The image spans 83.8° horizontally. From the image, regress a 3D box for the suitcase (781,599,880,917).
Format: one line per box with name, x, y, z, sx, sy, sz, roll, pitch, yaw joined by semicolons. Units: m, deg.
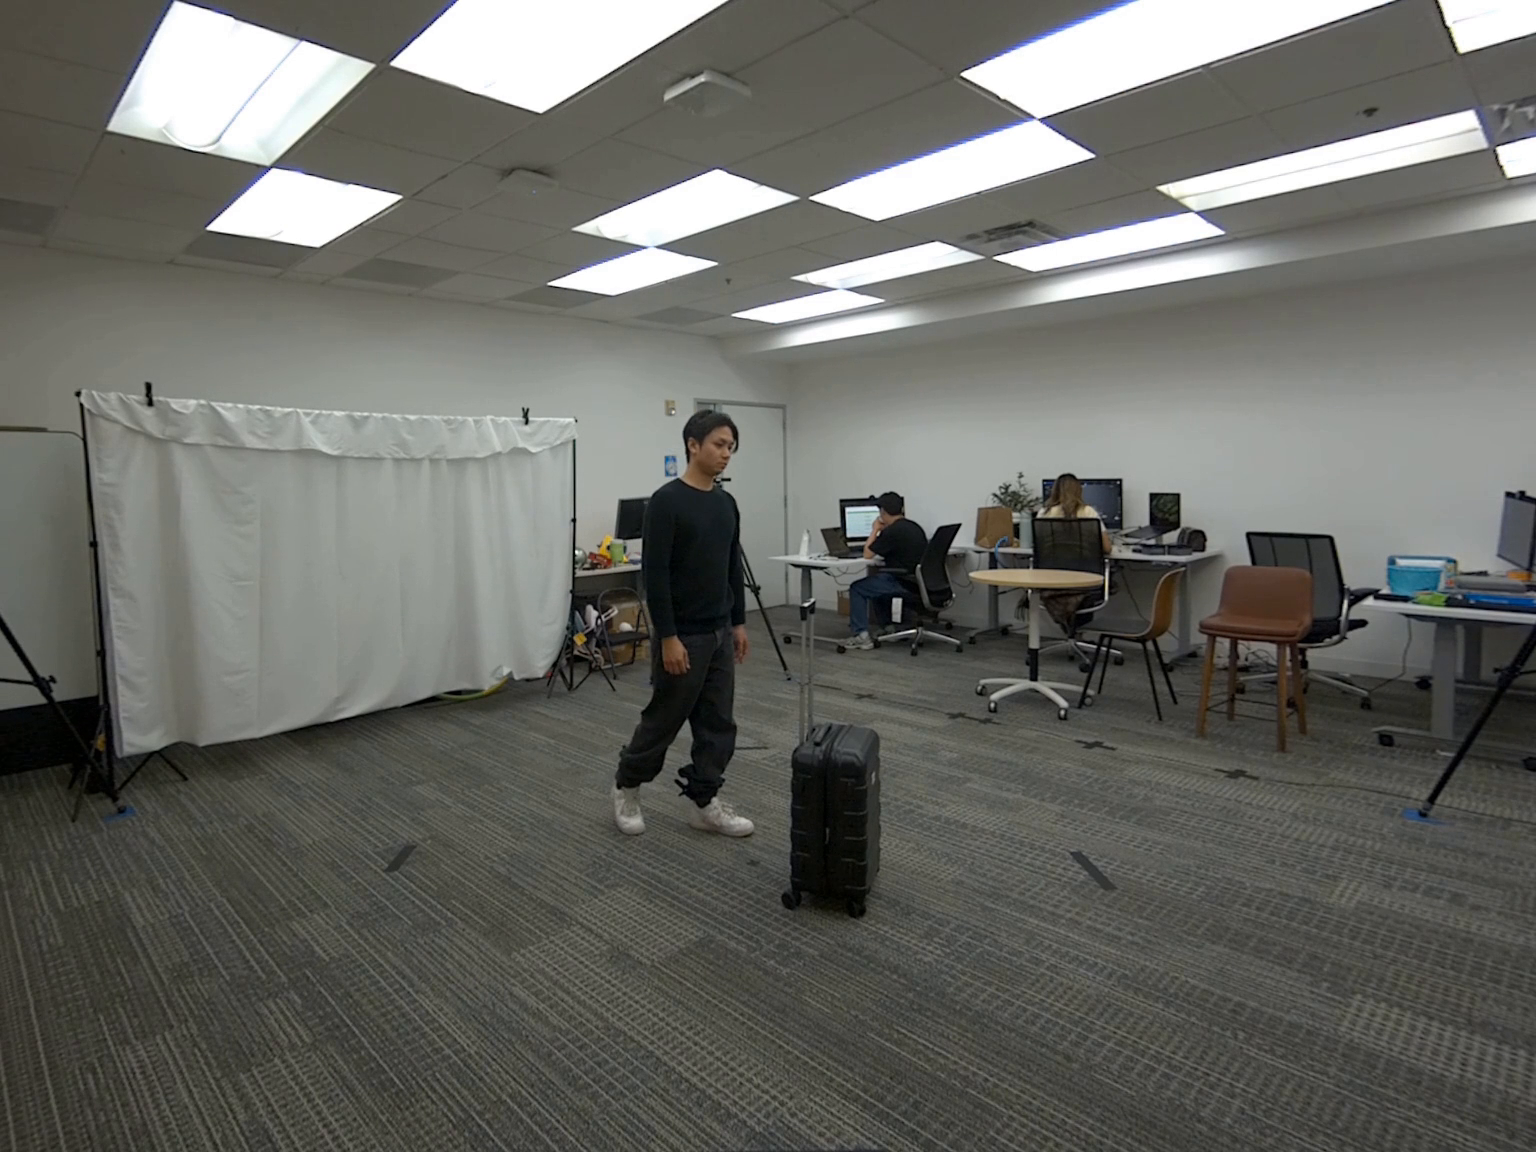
suitcase;0.244;0.591;2.843;0.261;0.973;0.380;4;6;14
